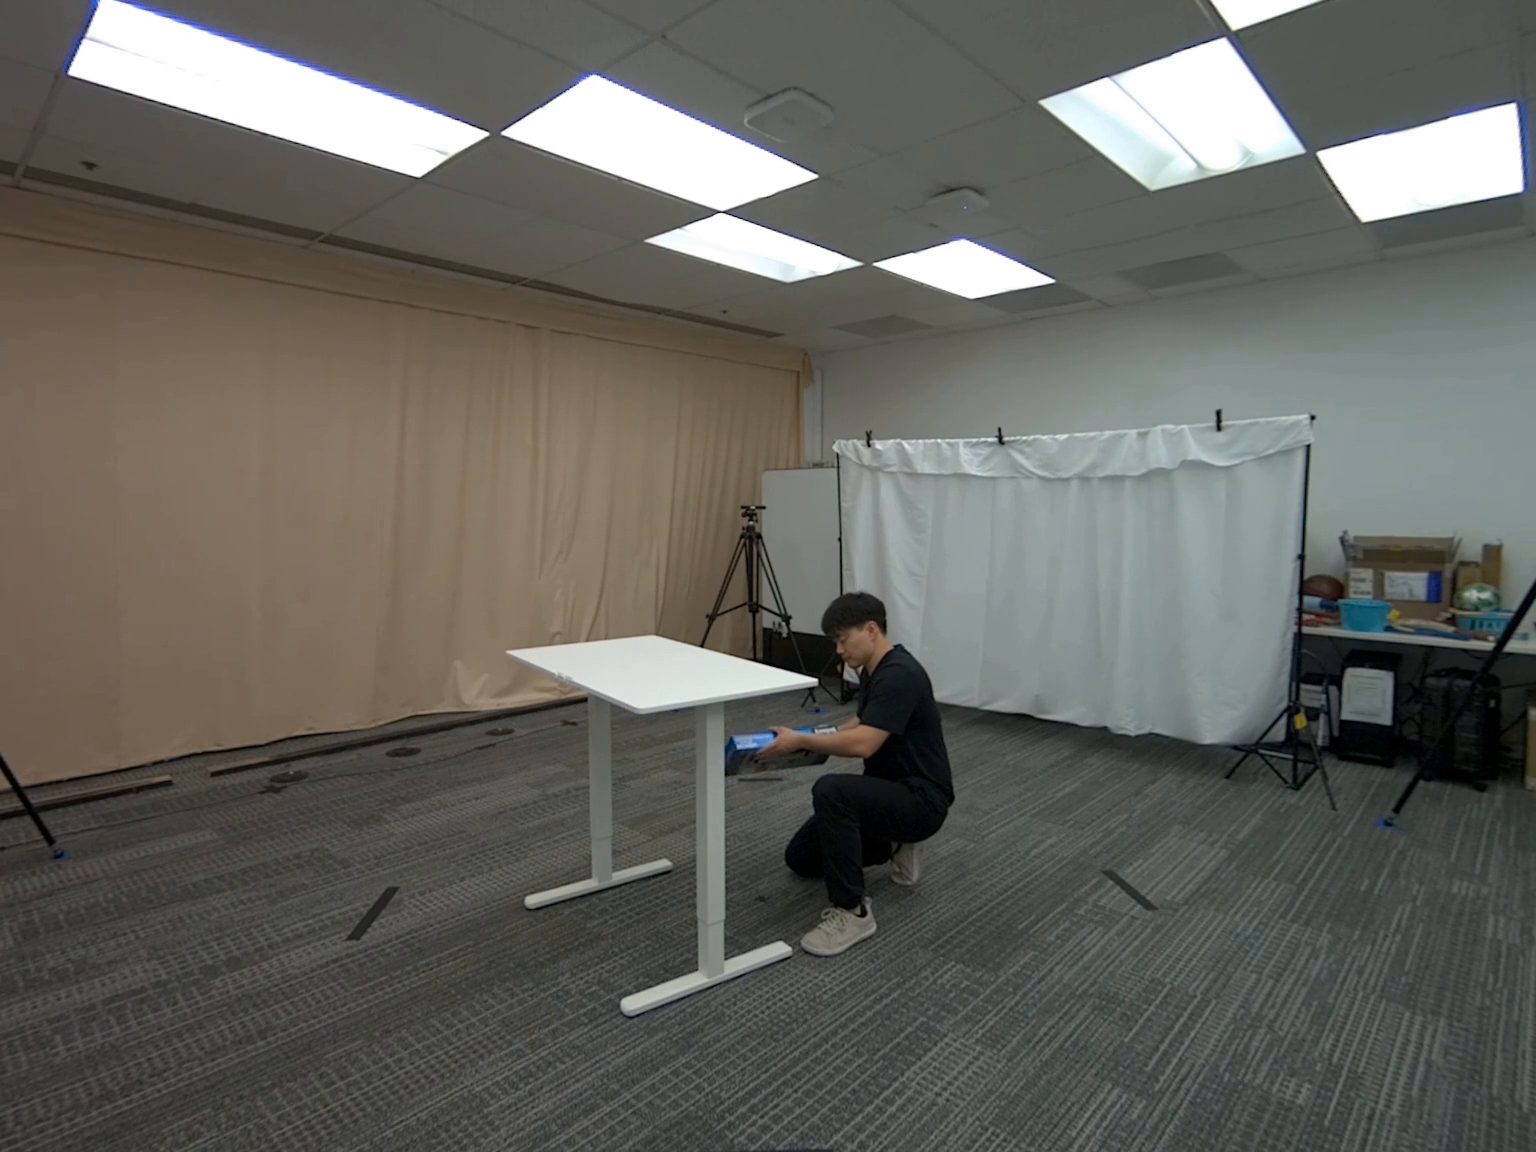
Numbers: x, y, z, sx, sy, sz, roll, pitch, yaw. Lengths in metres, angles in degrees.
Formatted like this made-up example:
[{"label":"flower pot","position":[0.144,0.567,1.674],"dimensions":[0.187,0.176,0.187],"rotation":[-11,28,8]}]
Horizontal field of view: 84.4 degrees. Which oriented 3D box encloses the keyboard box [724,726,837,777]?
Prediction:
[{"label":"keyboard box","position":[0.051,0.644,3.032],"dimensions":[0.426,0.175,0.061],"rotation":[1,44,-25]}]
